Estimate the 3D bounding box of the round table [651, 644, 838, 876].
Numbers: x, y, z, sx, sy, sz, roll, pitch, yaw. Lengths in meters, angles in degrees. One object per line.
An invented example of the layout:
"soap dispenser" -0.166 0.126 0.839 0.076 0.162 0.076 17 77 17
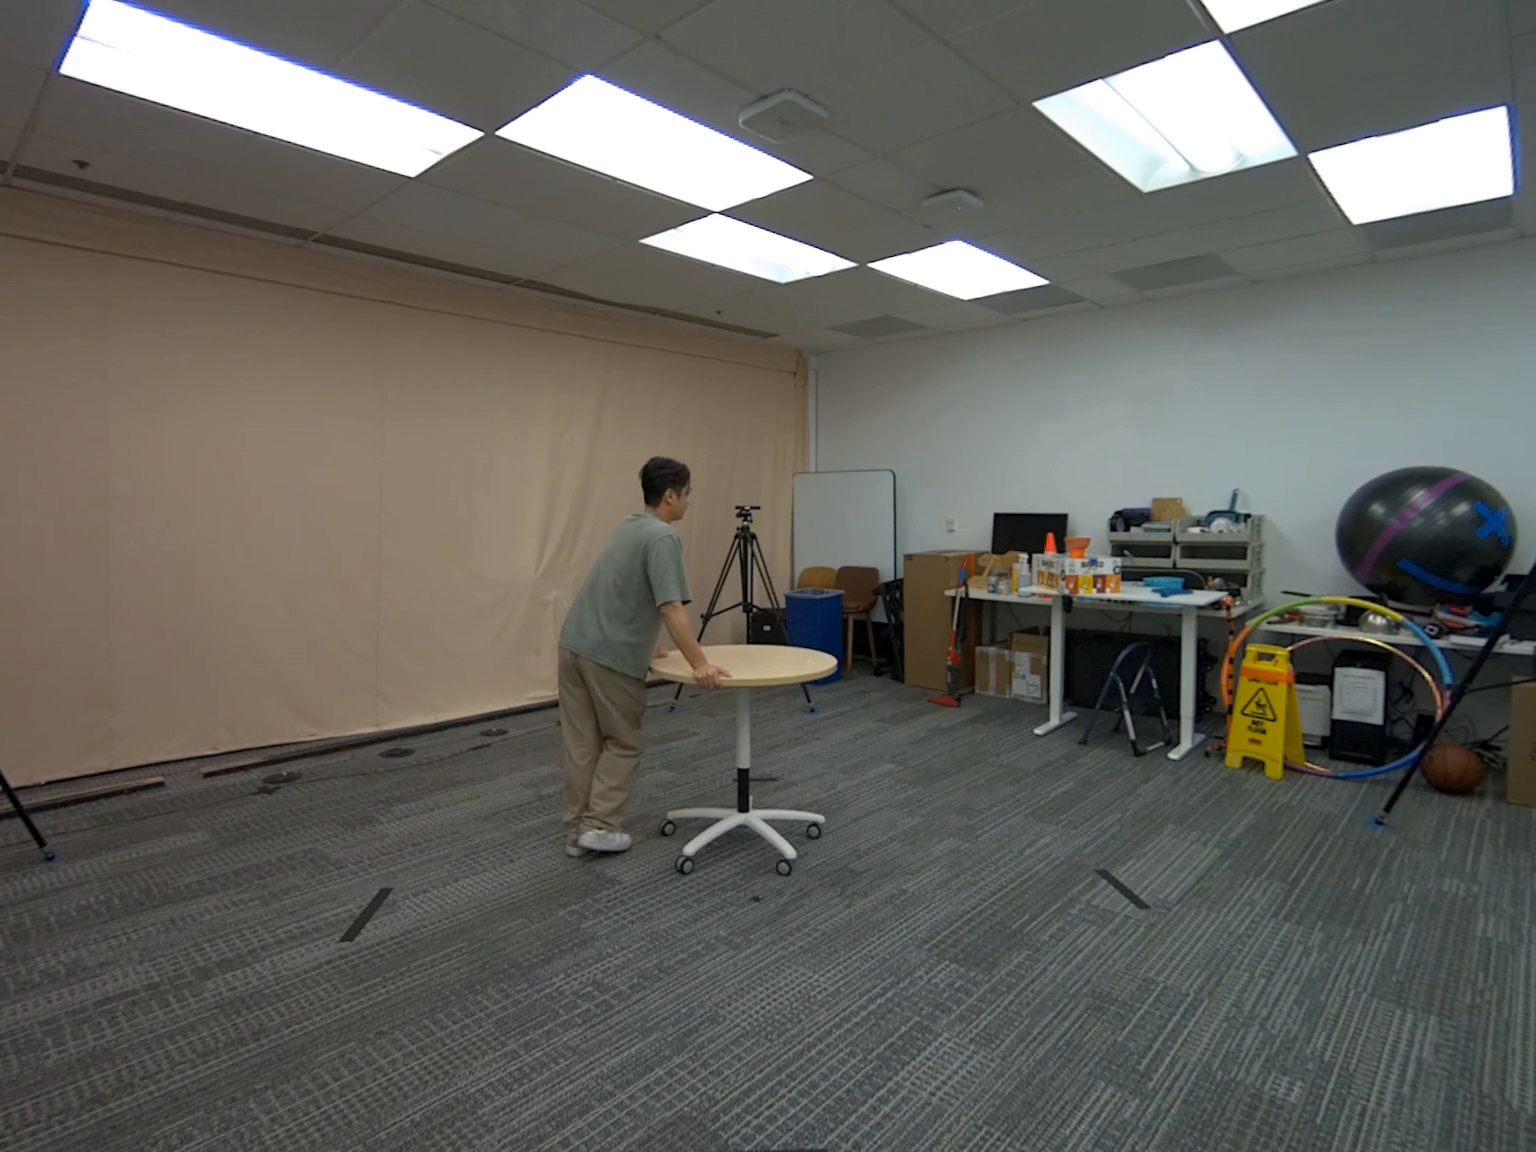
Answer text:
"round table" -0.098 0.725 3.423 0.784 0.785 0.787 -1 3 -2
